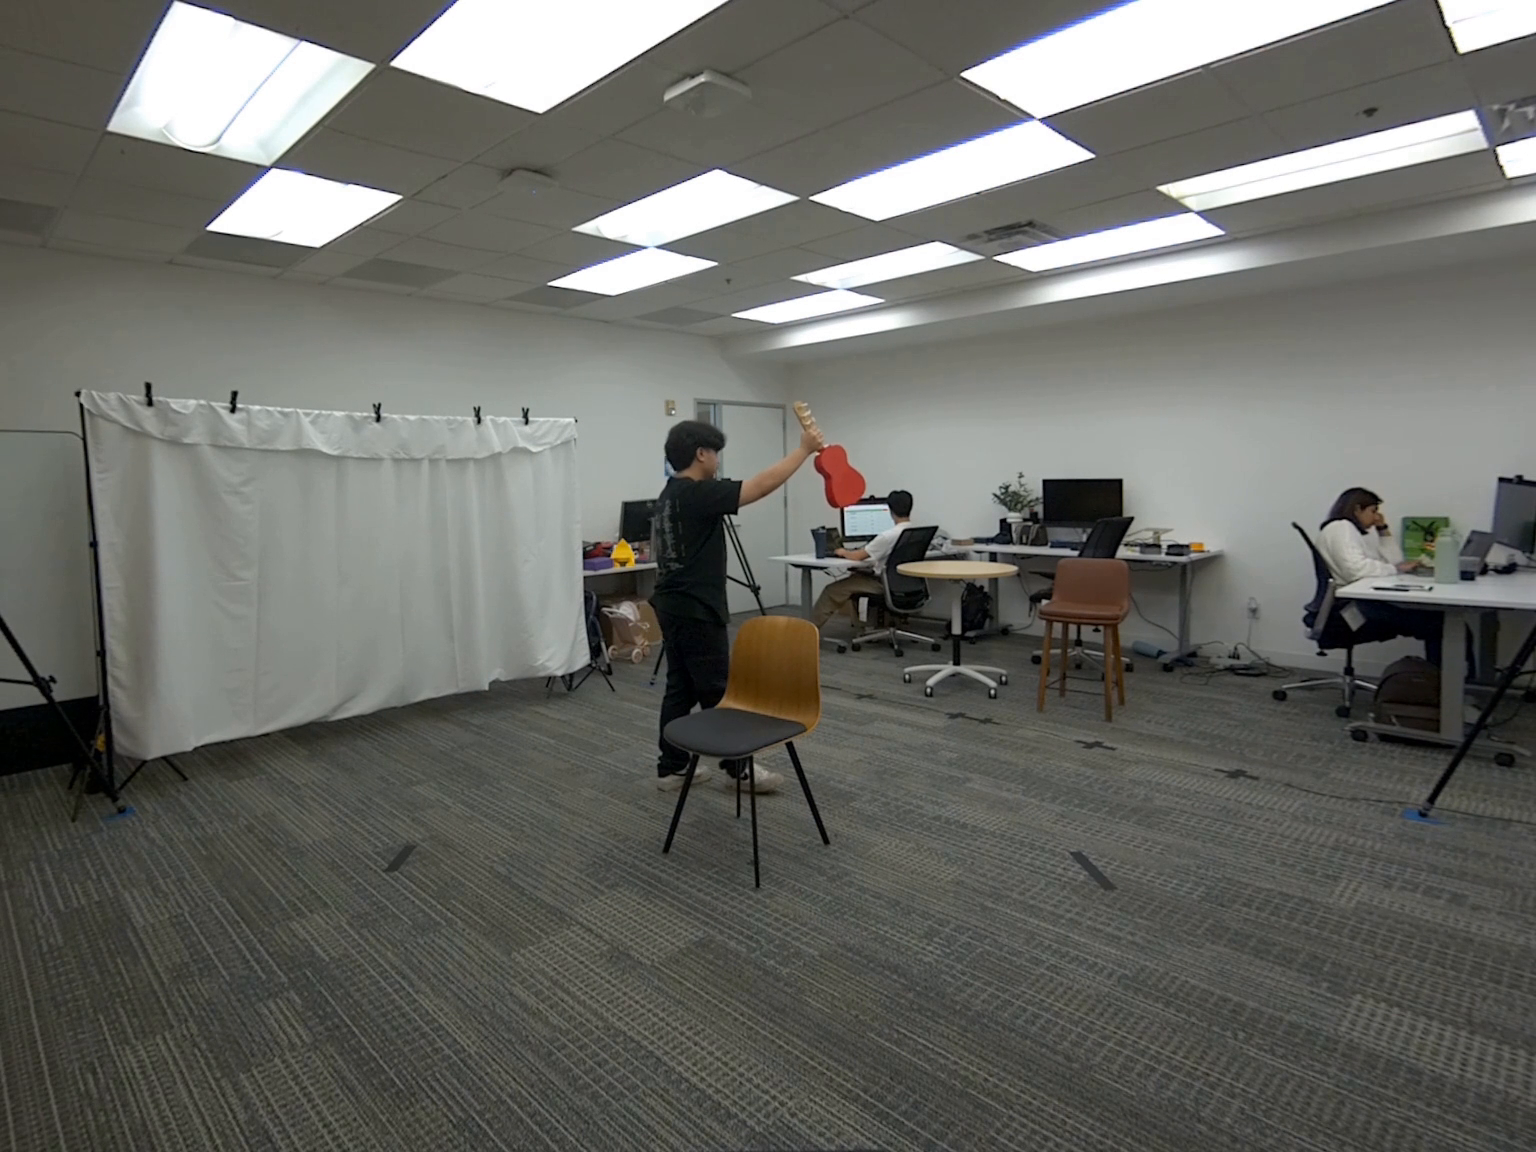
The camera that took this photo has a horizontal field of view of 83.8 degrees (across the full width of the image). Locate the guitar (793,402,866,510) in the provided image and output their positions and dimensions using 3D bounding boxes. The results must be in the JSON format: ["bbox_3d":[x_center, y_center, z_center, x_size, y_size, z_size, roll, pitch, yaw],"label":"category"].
[{"bbox_3d":[0.237,-0.518,3.681,0.193,0.487,0.072,-46,20,-28],"label":"guitar"}]
